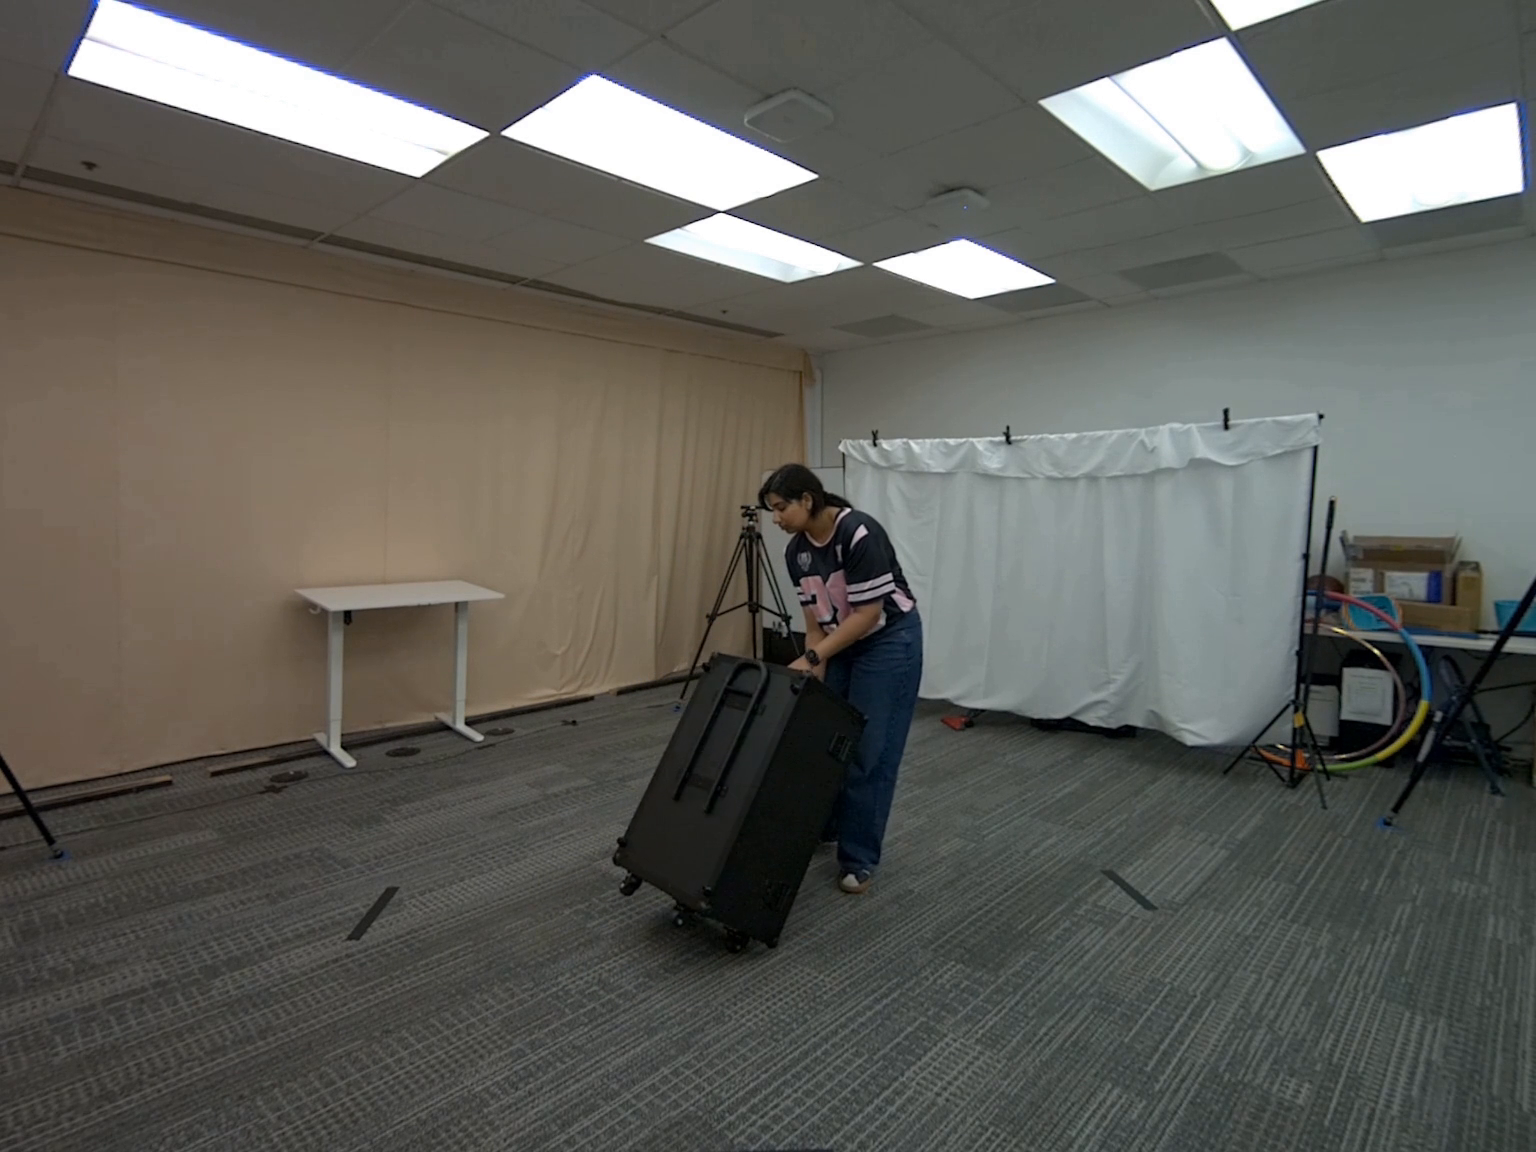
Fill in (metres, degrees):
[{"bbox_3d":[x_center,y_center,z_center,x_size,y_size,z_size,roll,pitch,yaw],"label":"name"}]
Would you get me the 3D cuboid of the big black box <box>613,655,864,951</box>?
[{"bbox_3d":[-0.099,0.743,2.784,0.541,0.870,0.372,5,-28,47],"label":"big black box"}]
